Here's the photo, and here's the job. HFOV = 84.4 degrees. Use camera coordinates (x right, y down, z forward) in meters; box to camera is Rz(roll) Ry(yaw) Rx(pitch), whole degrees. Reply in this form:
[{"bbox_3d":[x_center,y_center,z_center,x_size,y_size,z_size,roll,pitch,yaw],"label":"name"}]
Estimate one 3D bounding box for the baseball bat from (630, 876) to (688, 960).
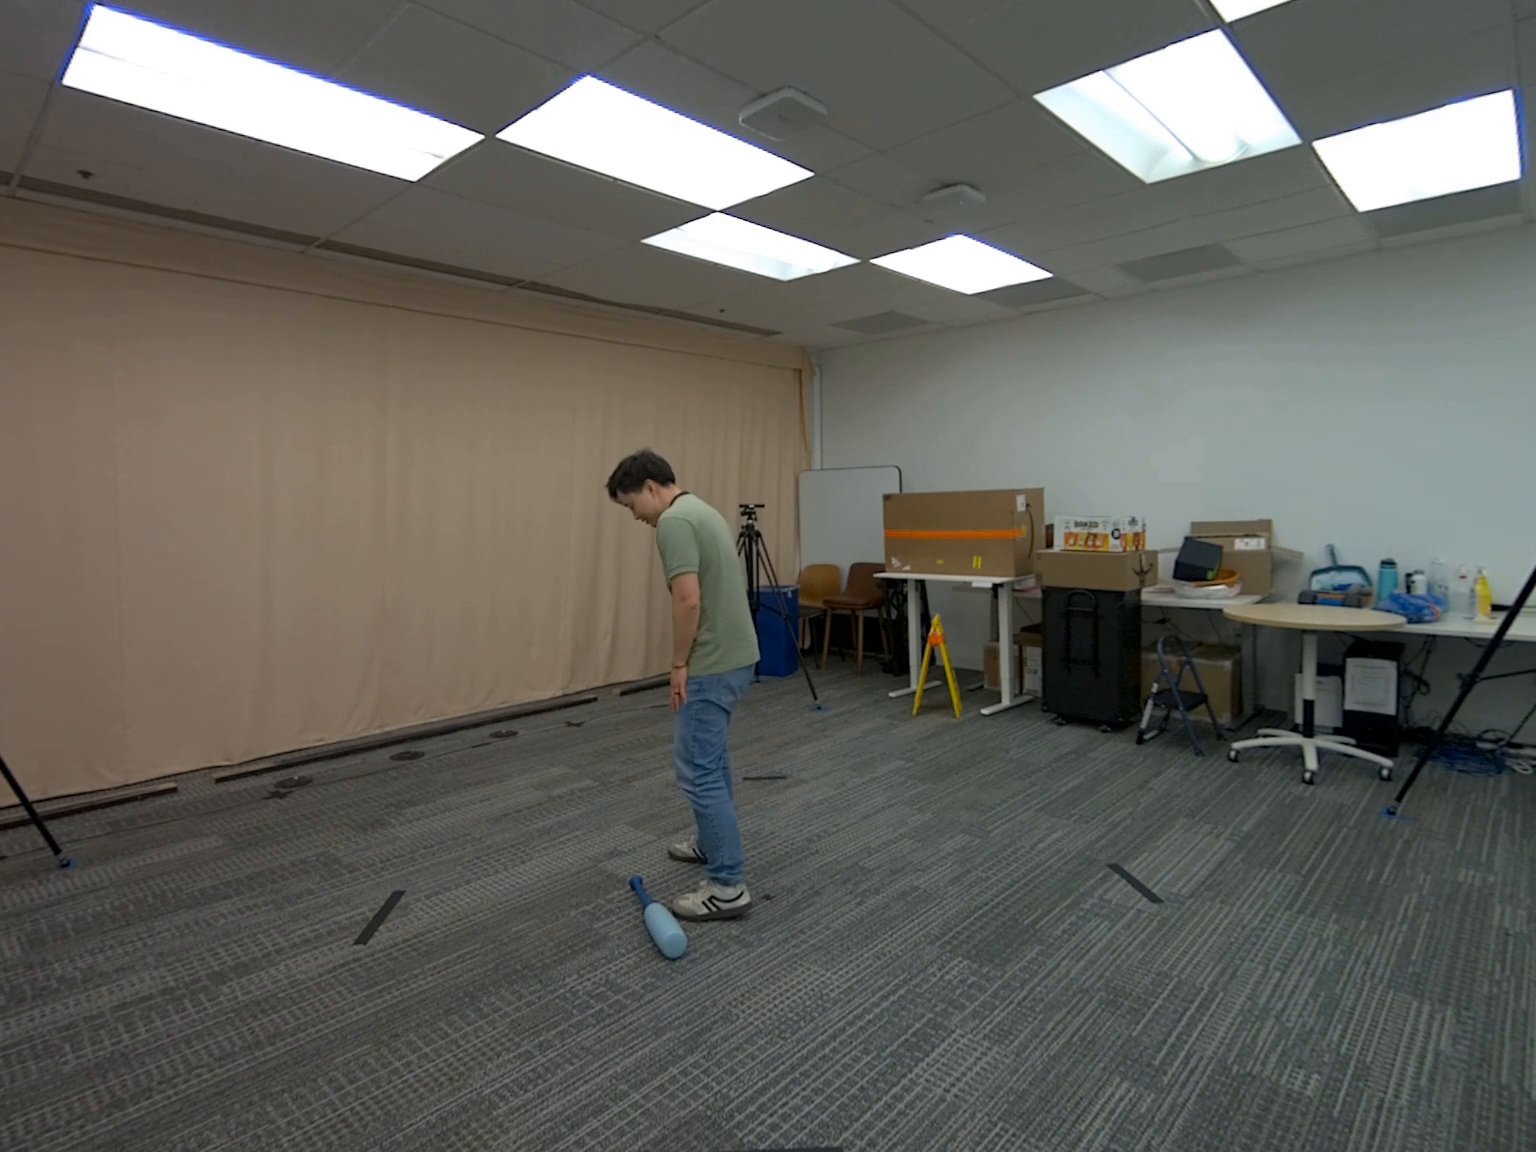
[{"bbox_3d":[-0.385,1.125,2.821,0.087,0.089,0.554,-2,2,-21],"label":"baseball bat"}]
